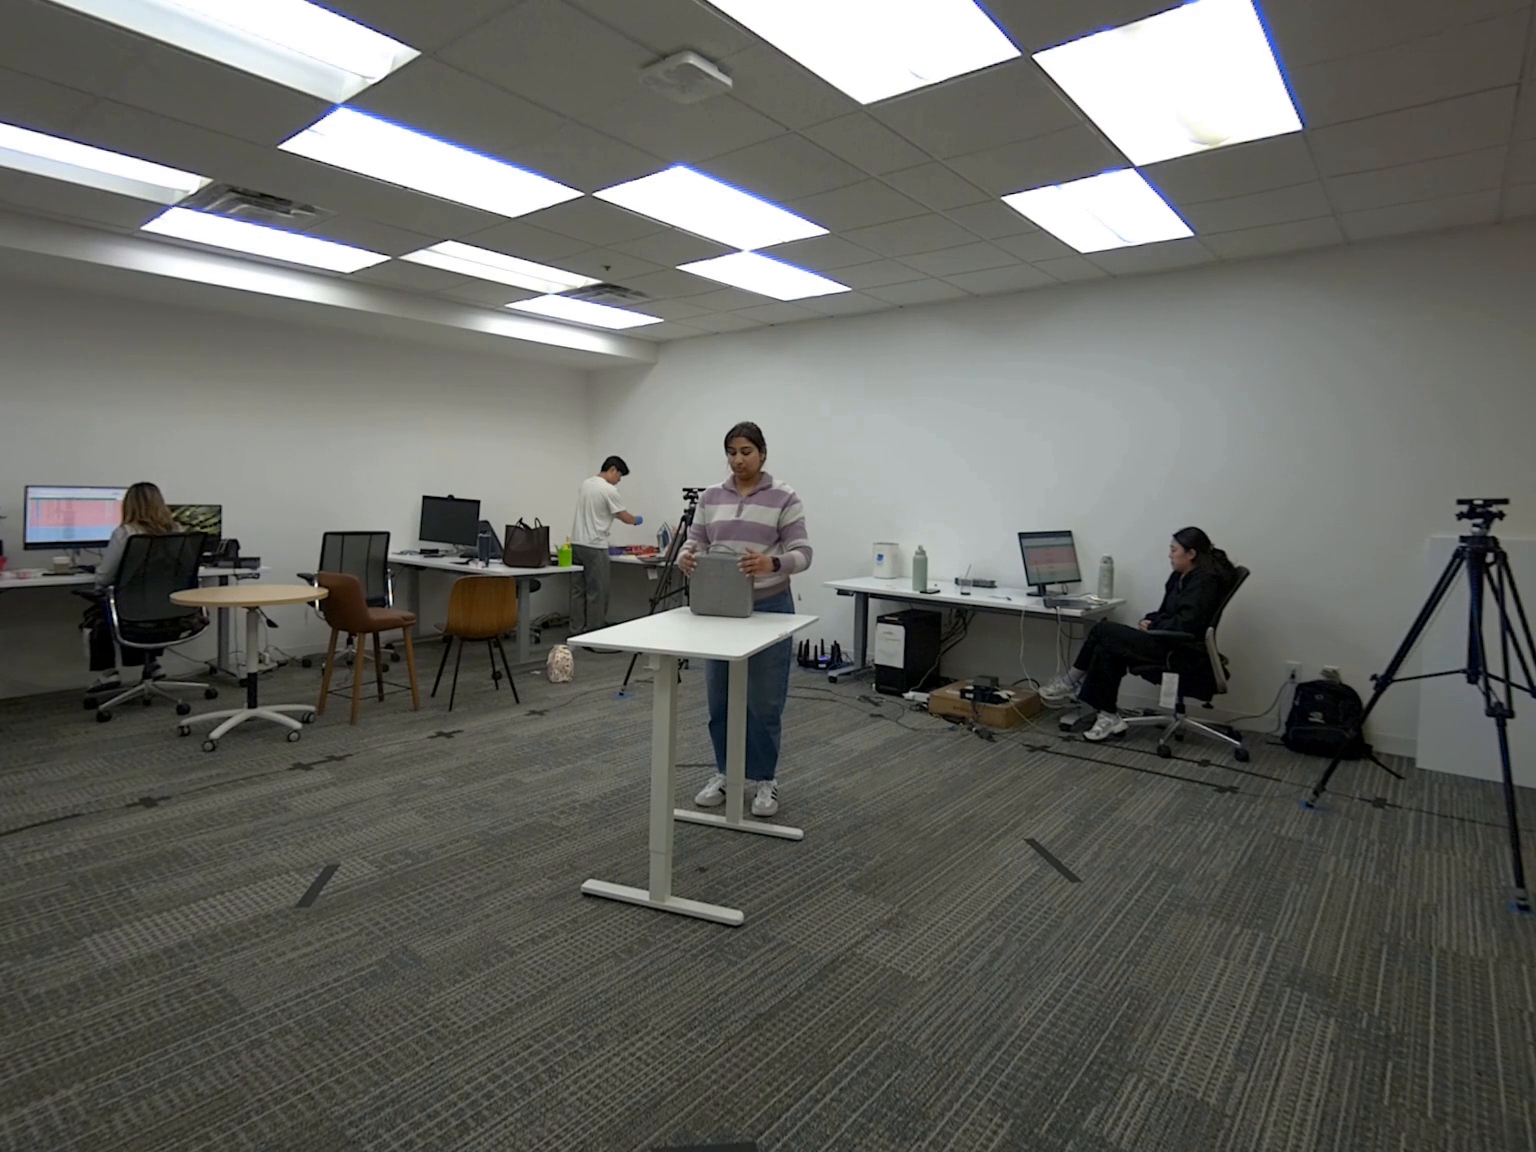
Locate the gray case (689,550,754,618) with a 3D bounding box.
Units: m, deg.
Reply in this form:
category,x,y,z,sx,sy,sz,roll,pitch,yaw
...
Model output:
category,x,y,z,sx,sy,sz,roll,pitch,yaw
gray case,-0.194,0.034,3.423,0.260,0.259,0.103,4,5,12
